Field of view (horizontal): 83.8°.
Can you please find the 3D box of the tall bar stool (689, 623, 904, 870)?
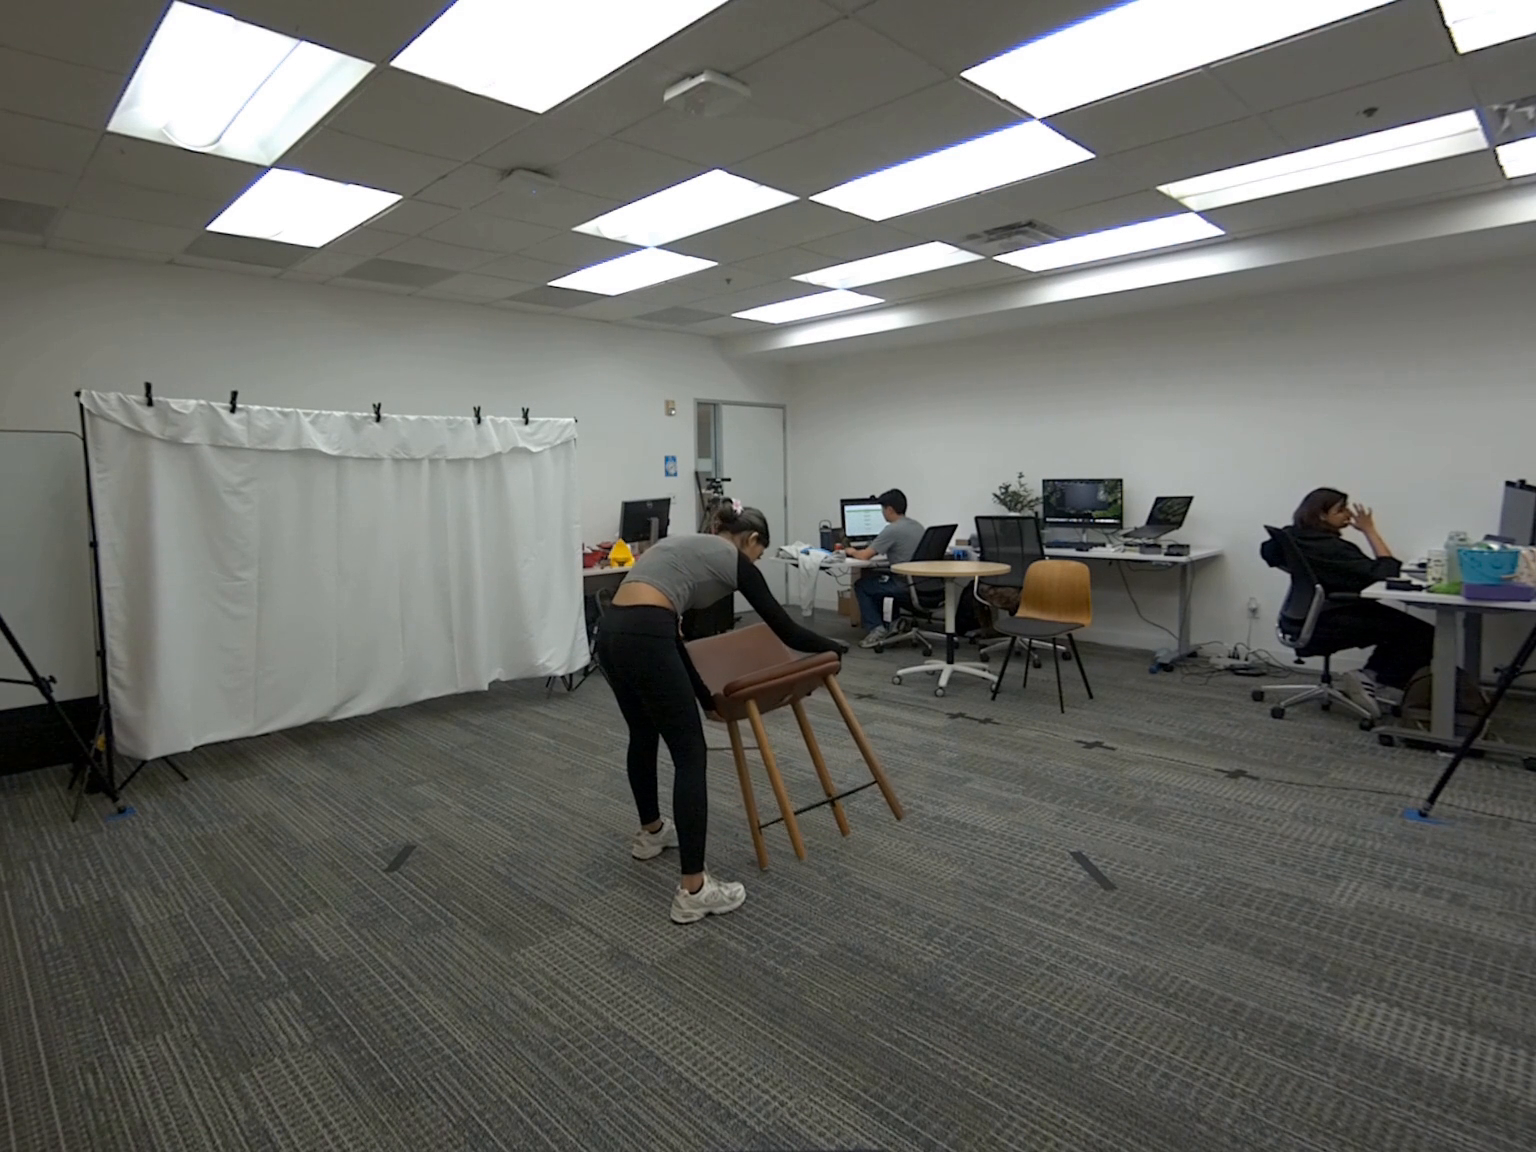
[{"bbox_3d":[0.064,0.544,3.077,0.449,0.910,0.465,-13,-20,-24],"label":"tall bar stool"}]
